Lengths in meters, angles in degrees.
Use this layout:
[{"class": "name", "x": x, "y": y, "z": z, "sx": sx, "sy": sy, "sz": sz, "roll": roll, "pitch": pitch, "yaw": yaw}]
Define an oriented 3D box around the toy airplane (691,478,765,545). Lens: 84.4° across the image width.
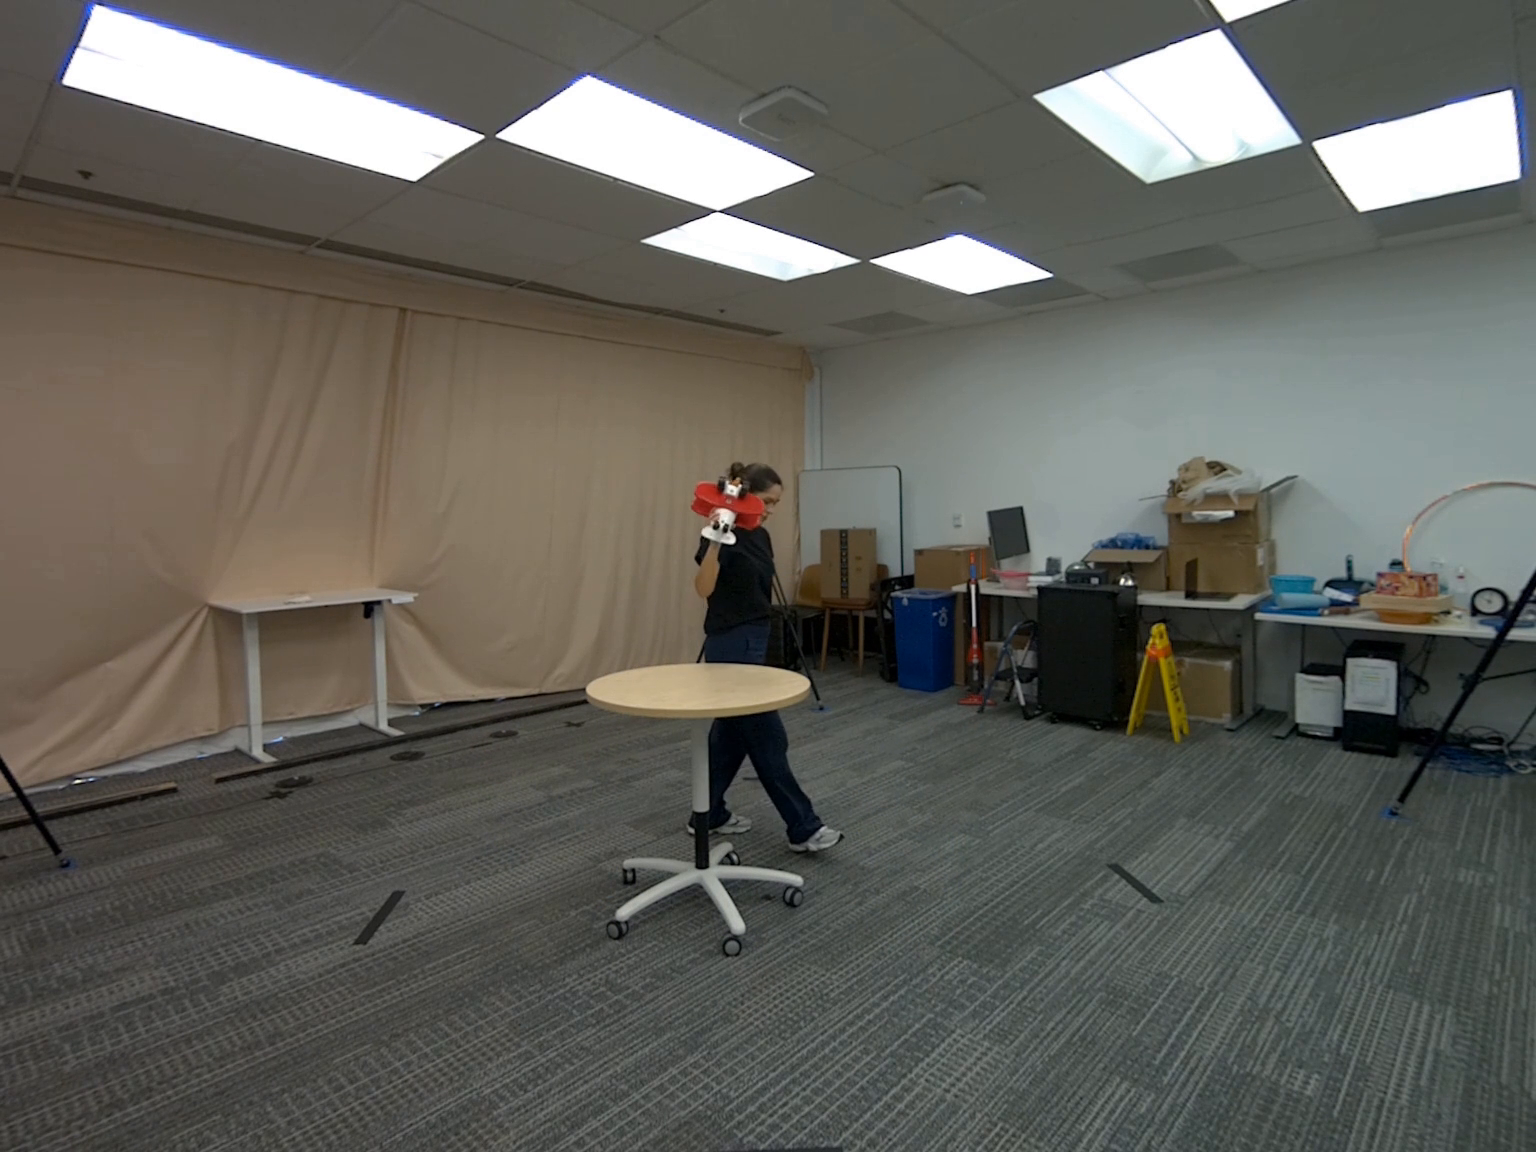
[{"class": "toy airplane", "x": -0.145, "y": -0.228, "z": 3.000, "sx": 0.257, "sy": 0.254, "sz": 0.155, "roll": -45, "pitch": -10, "yaw": -23}]
